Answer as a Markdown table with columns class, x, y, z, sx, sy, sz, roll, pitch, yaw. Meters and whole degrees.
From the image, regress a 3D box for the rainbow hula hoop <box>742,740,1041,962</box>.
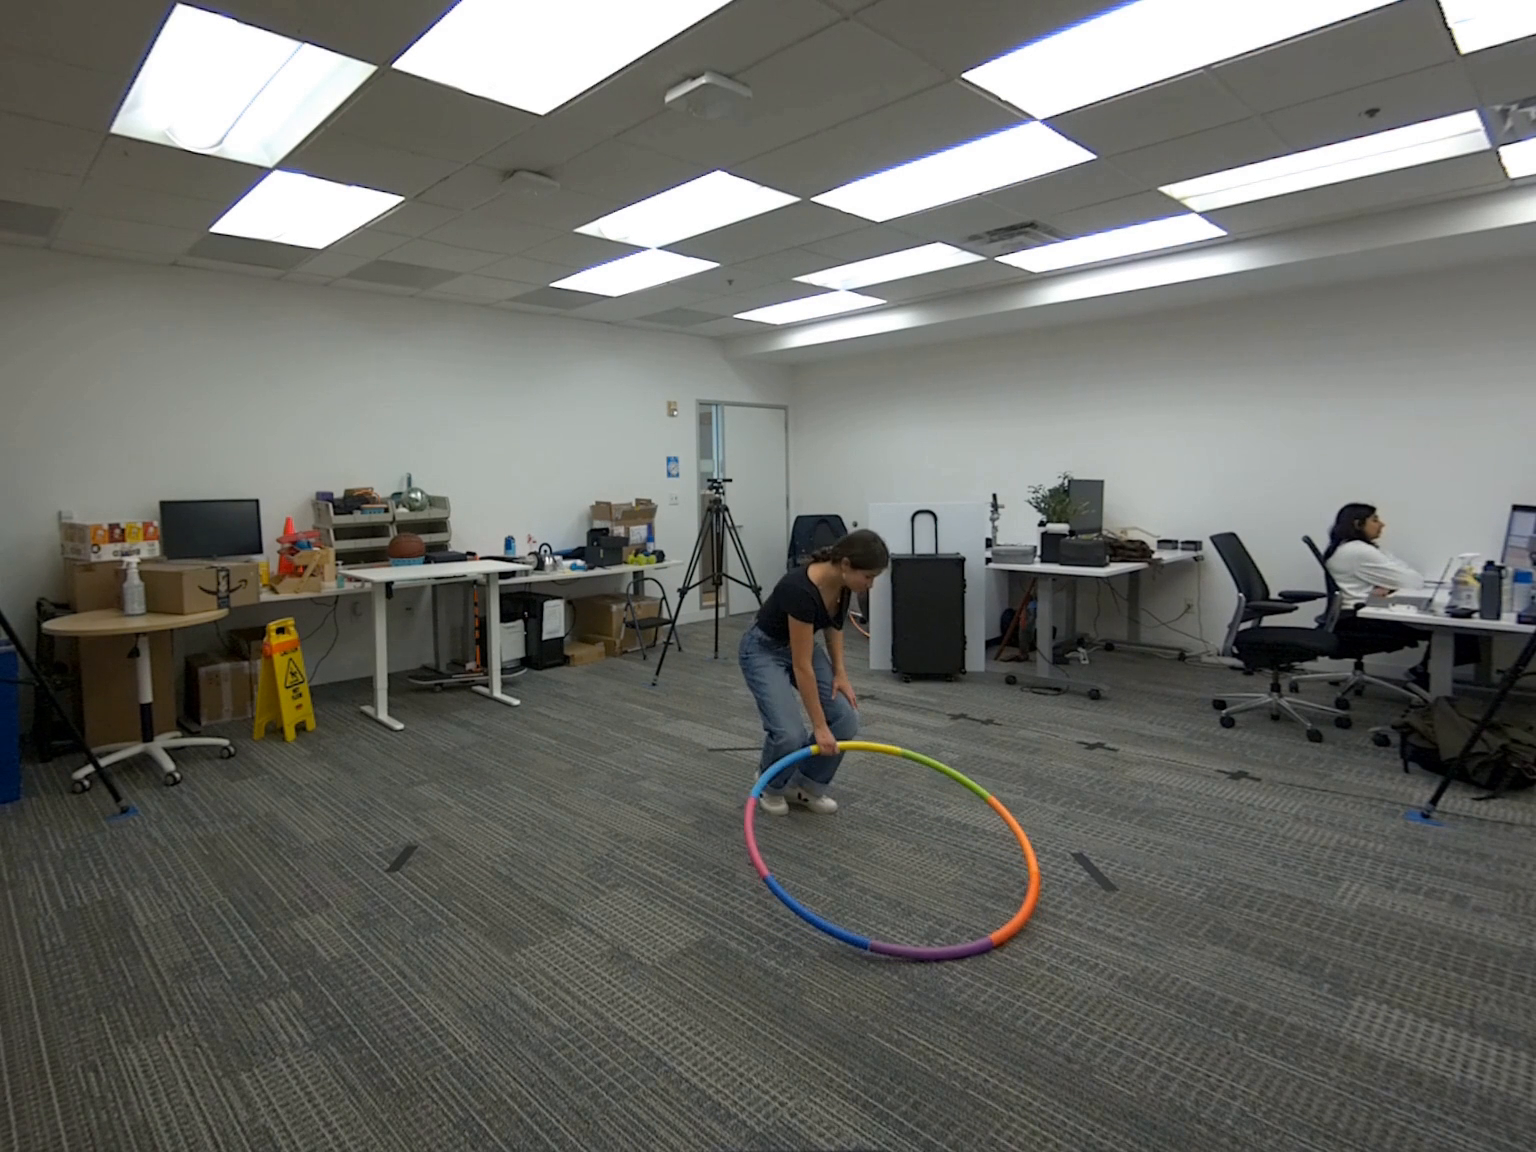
| class | x | y | z | sx | sy | sz | roll | pitch | yaw |
| --- | --- | --- | --- | --- | --- | --- | --- | --- | --- |
| rainbow hula hoop | 0.408 | 0.879 | 2.907 | 0.976 | 0.035 | 1.000 | 3 | 25 | -3 |
